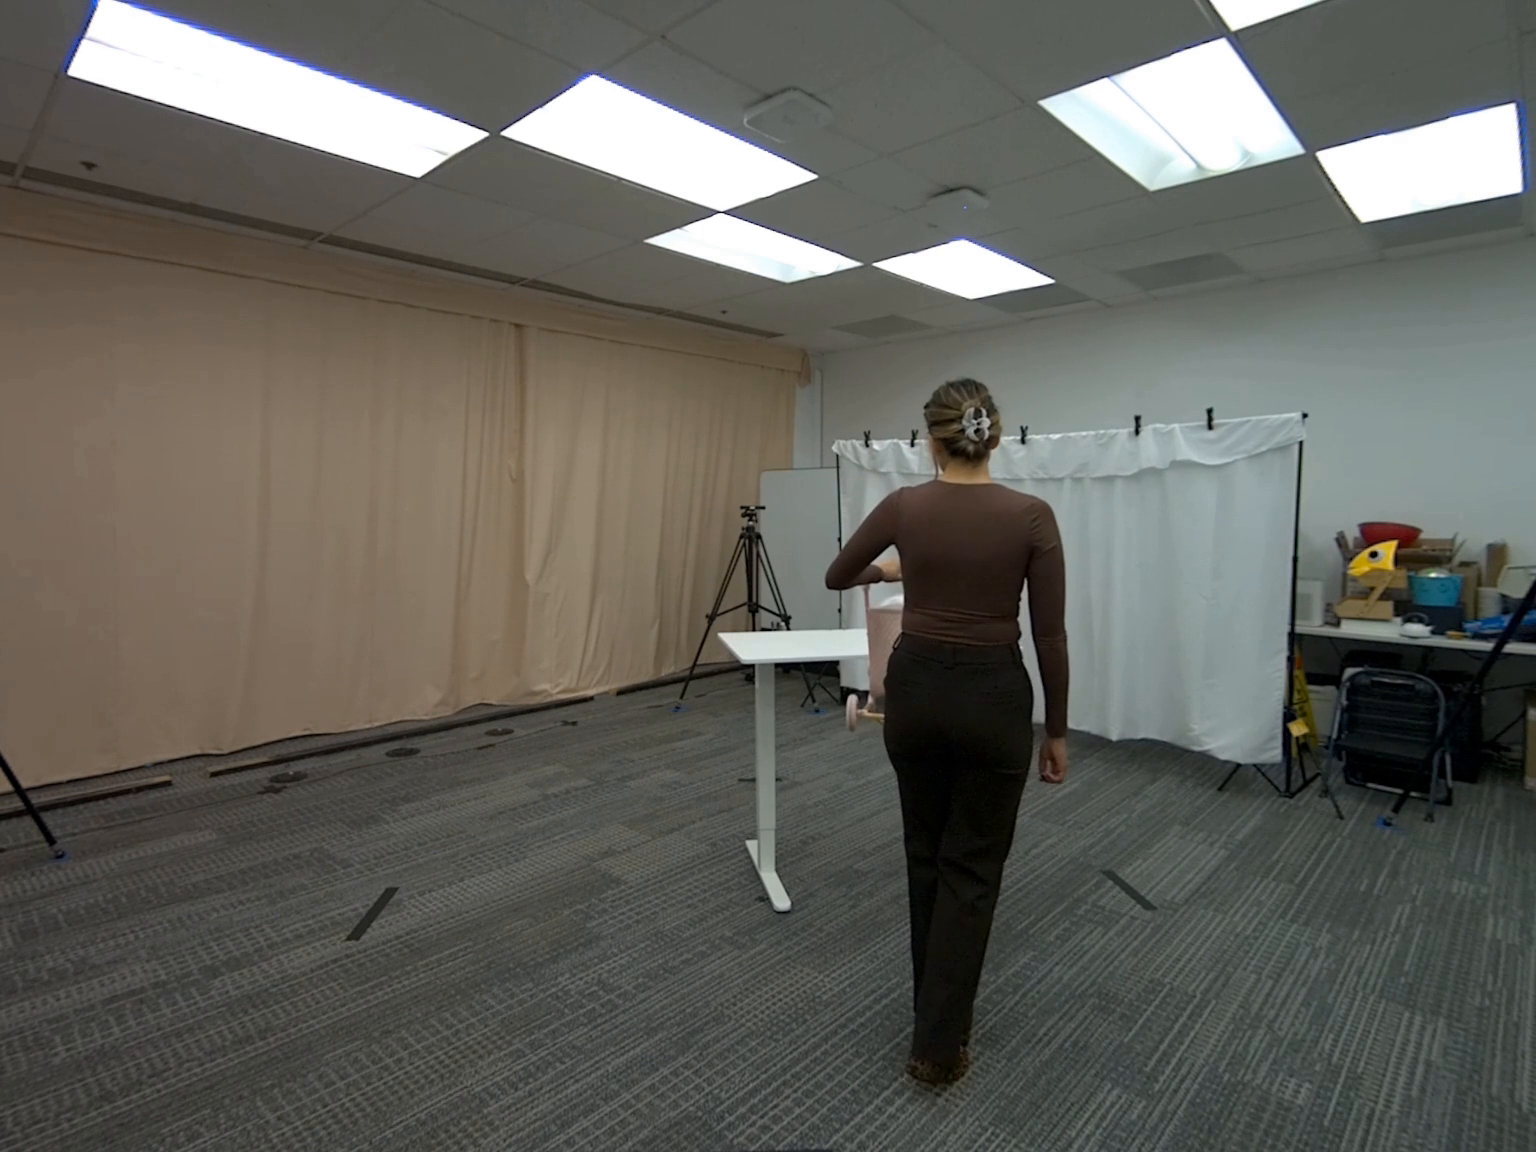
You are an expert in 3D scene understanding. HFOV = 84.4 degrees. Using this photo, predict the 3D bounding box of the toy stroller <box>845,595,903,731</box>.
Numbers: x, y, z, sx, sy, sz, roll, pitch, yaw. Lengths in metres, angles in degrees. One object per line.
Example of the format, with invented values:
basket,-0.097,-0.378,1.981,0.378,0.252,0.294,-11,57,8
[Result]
toy stroller,0.425,0.283,2.624,0.287,0.539,0.332,-2,-13,20
